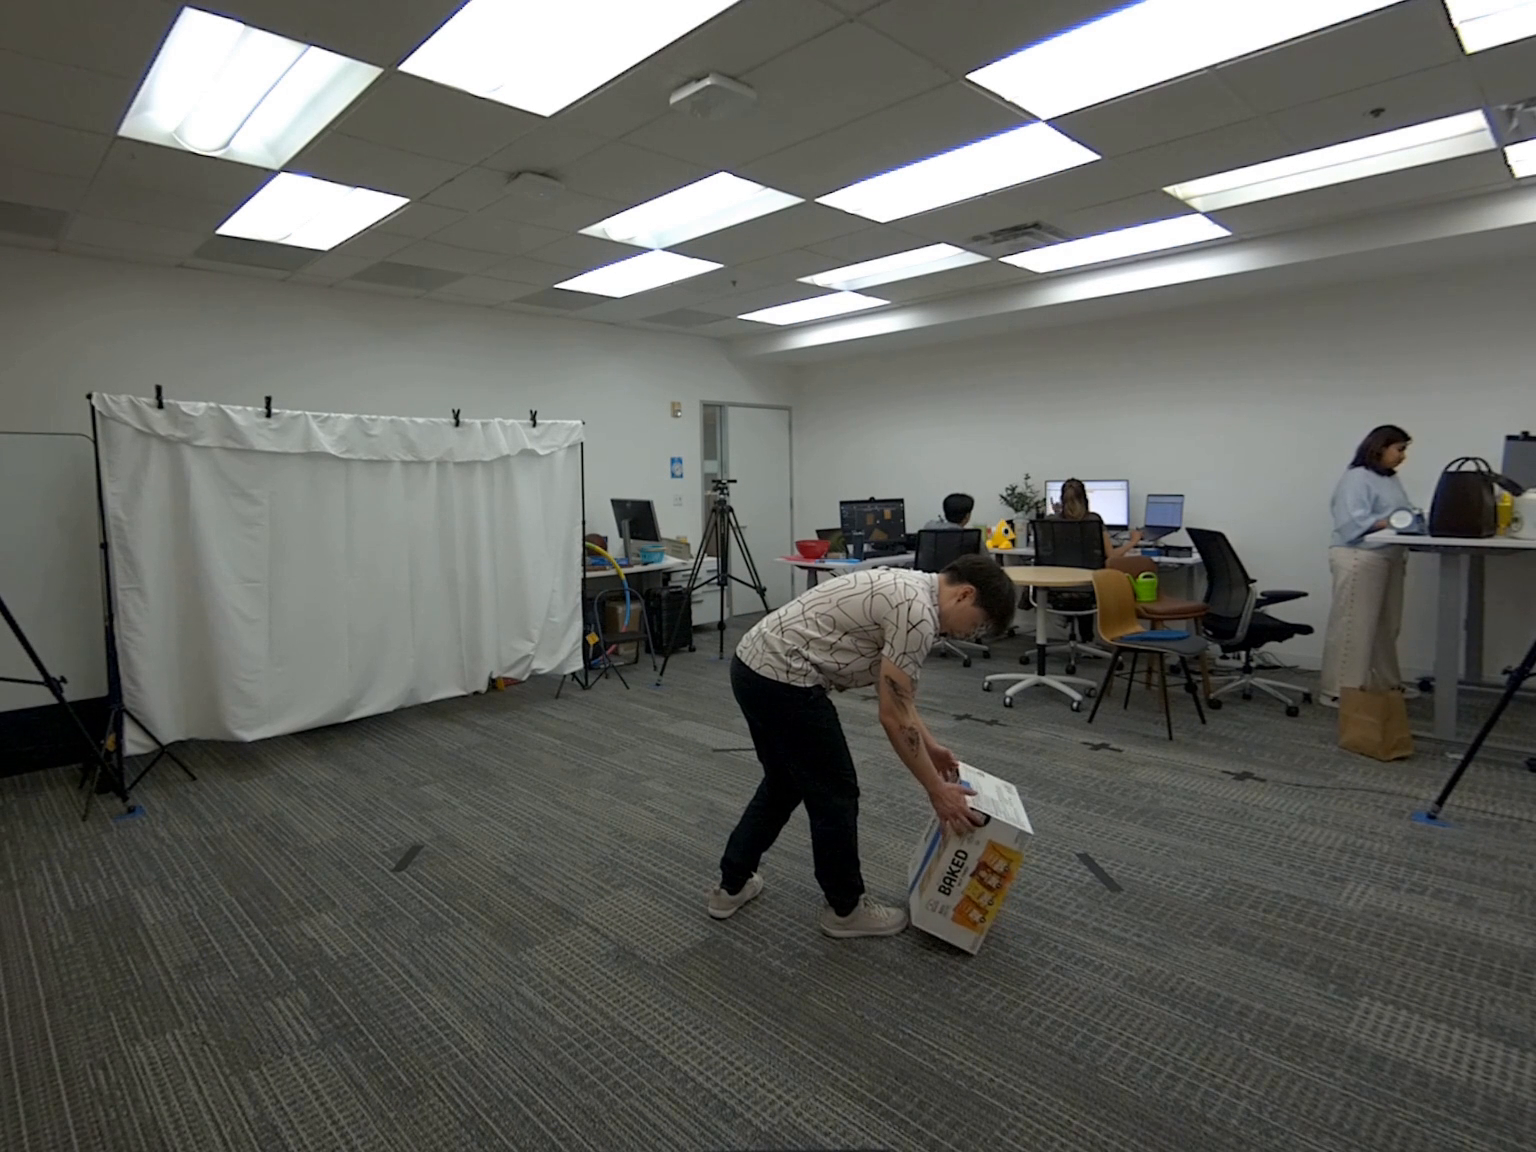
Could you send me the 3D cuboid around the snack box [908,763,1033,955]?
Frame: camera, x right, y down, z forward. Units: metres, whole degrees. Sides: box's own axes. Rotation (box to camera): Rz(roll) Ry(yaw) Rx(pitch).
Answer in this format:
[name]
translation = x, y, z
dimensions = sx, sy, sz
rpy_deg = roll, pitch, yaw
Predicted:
[snack box]
translation = 0.609, 0.843, 2.610
dimensions = 0.207, 0.403, 0.340
rpy_deg = 23, 10, 4
